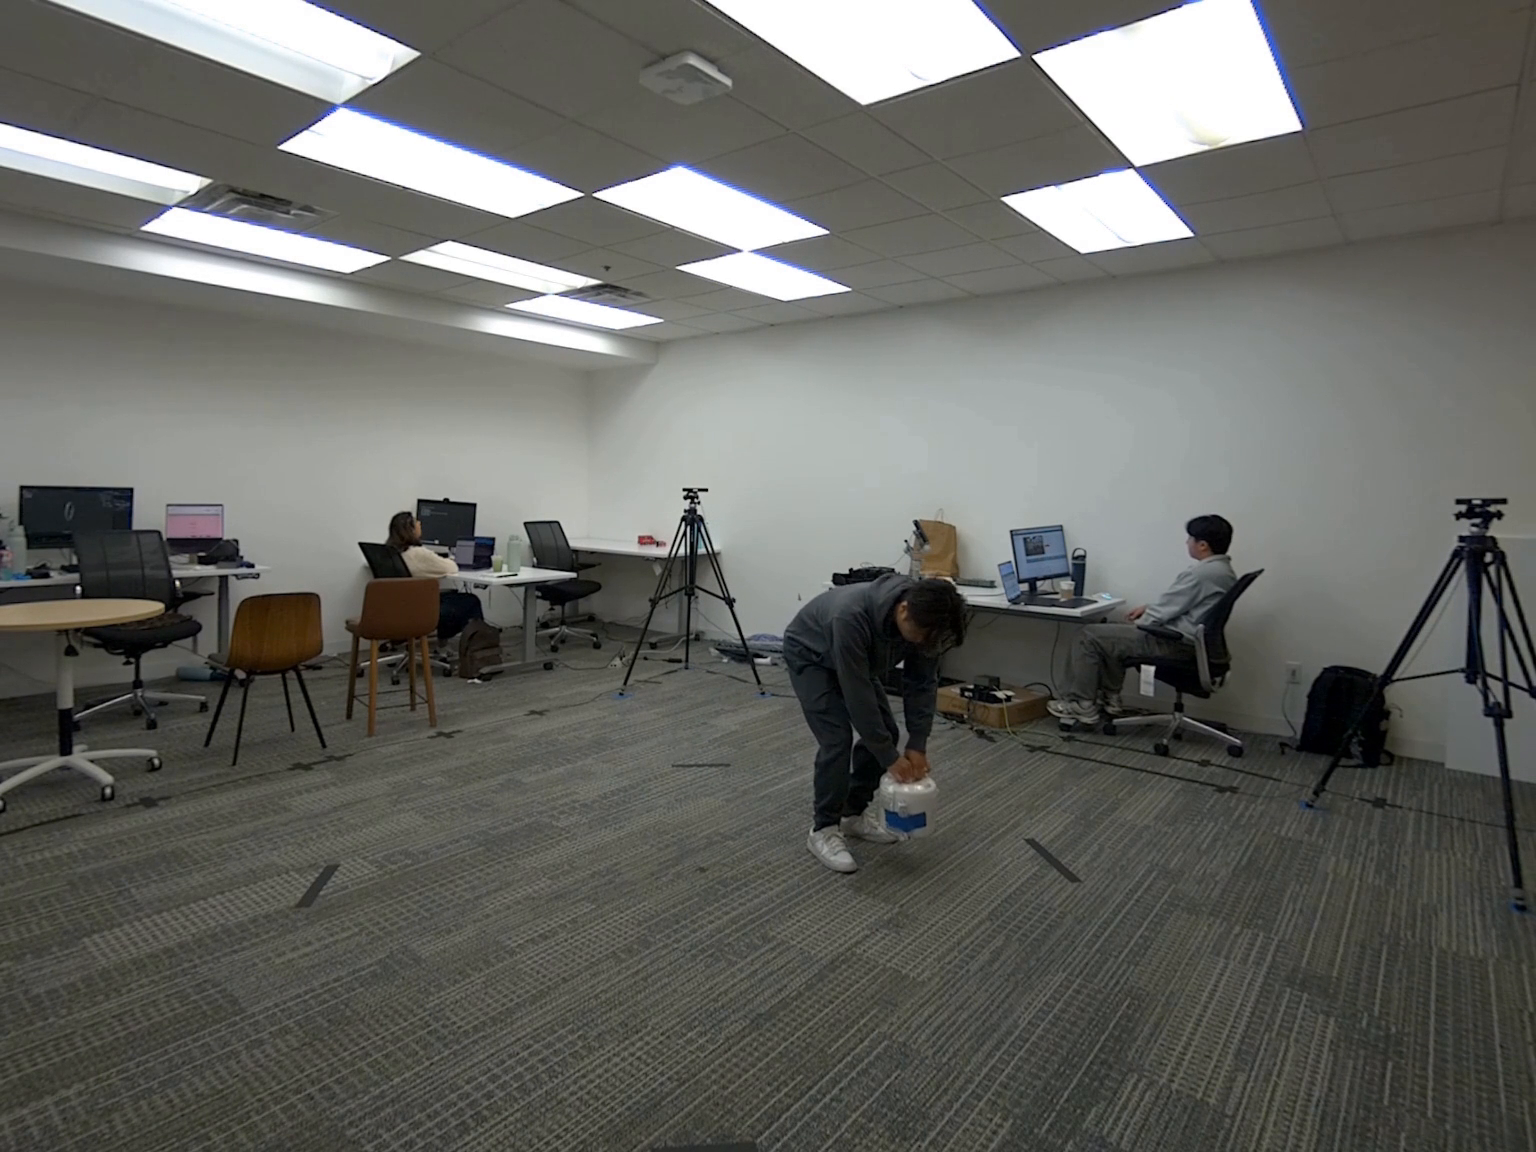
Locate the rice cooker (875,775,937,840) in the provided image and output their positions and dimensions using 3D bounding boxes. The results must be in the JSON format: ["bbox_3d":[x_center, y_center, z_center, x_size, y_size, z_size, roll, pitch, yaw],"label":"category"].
[{"bbox_3d":[0.512,0.831,3.174,0.215,0.231,0.225,-5,10,-31],"label":"rice cooker"}]
